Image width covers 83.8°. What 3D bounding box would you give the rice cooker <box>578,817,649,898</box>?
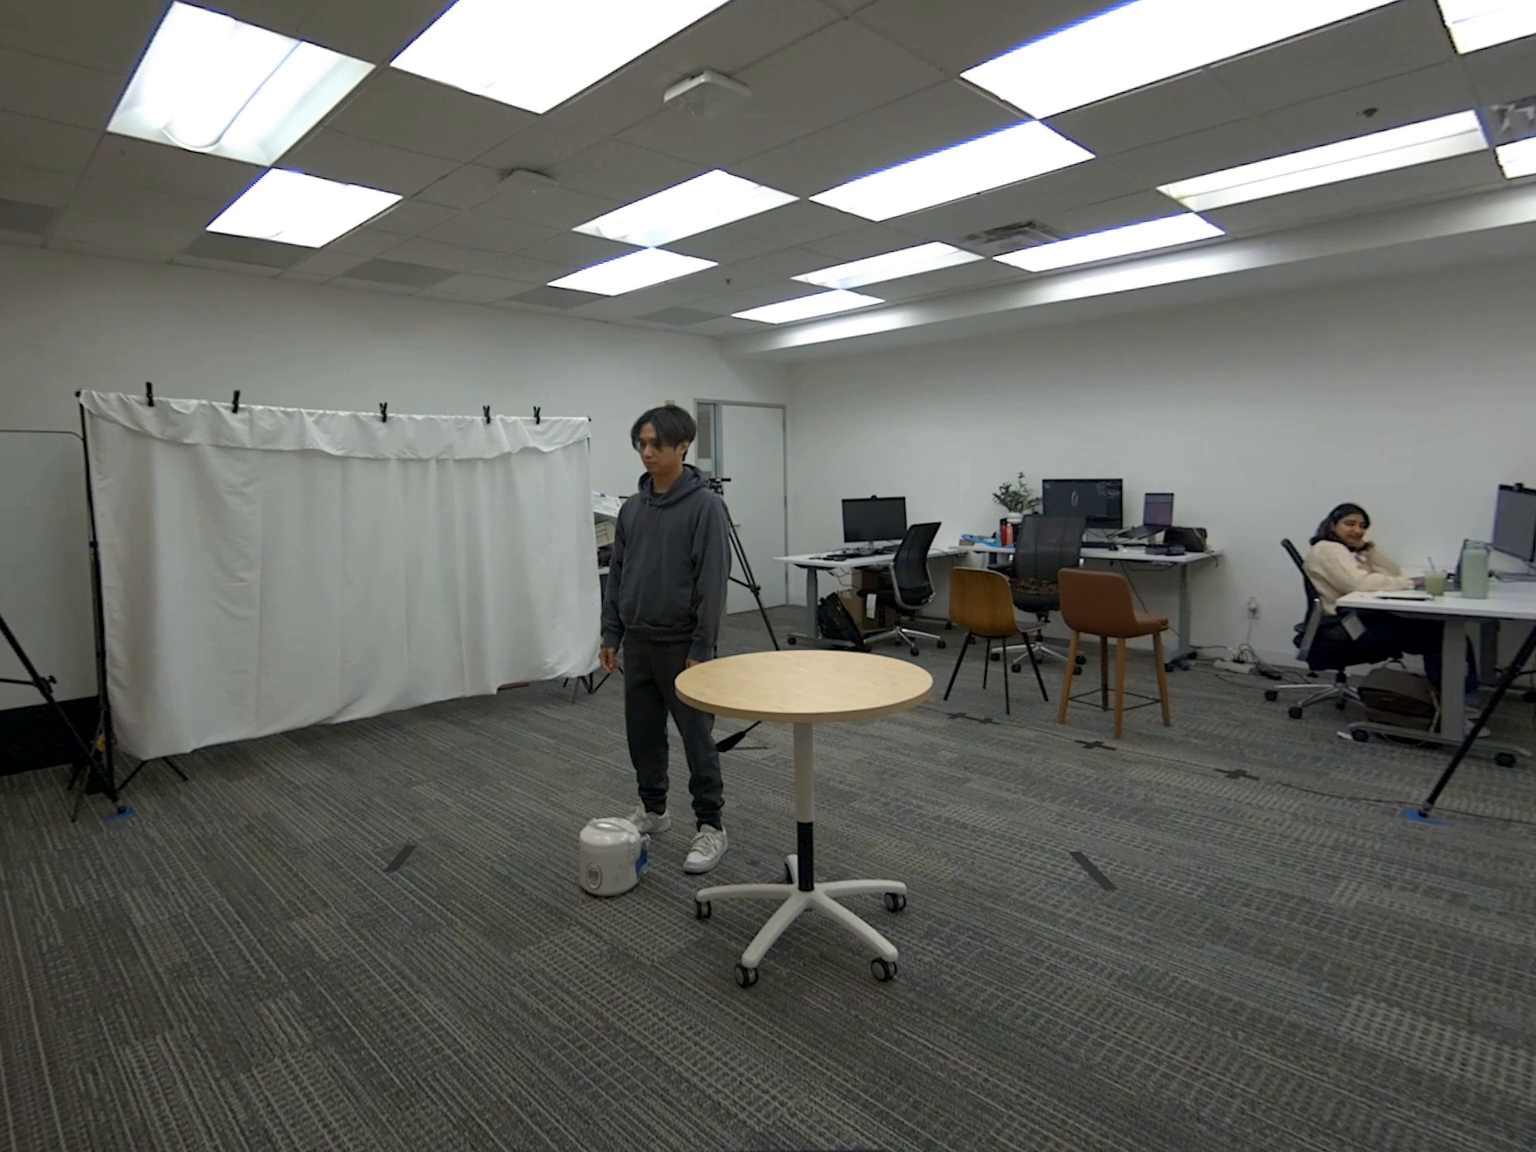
[{"bbox_3d":[-0.543,0.959,2.944,0.225,0.232,0.214,1,5,22],"label":"rice cooker"}]
